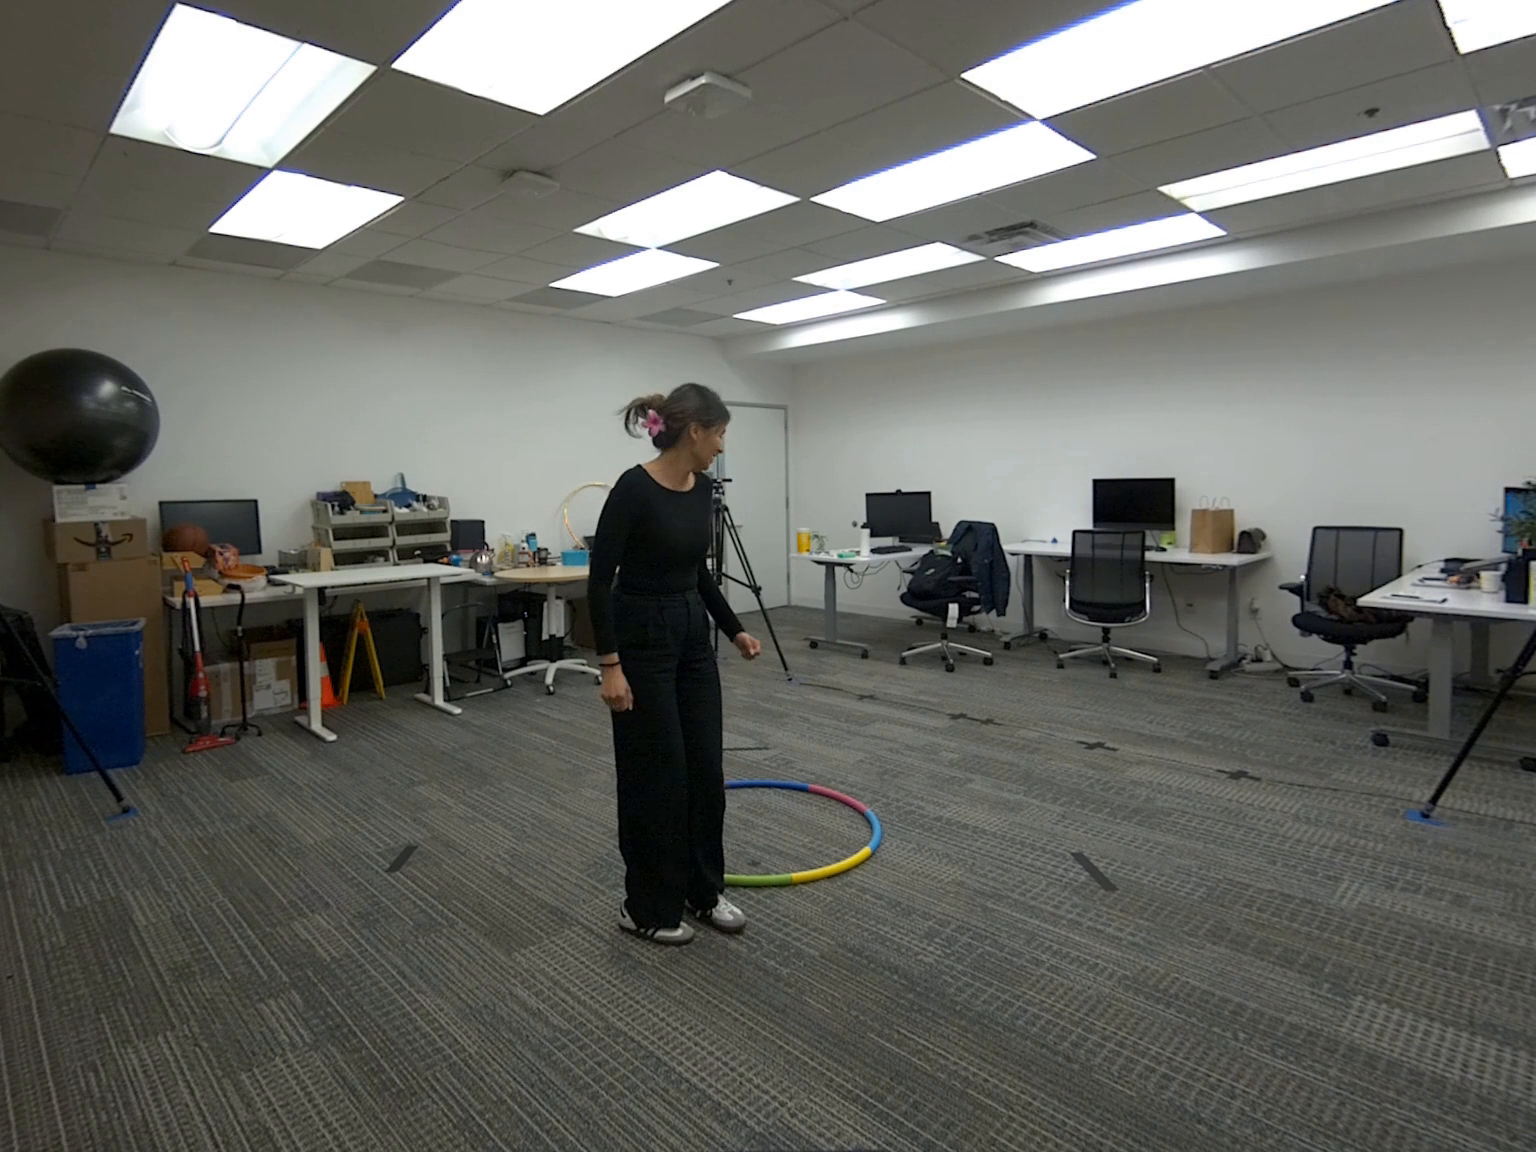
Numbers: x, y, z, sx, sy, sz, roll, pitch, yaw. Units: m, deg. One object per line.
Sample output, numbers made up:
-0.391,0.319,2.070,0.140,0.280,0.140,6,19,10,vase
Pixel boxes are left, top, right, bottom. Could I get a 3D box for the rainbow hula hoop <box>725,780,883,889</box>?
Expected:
-0.048,0.979,3.403,0.978,0.035,0.984,-1,6,-2,rainbow hula hoop
